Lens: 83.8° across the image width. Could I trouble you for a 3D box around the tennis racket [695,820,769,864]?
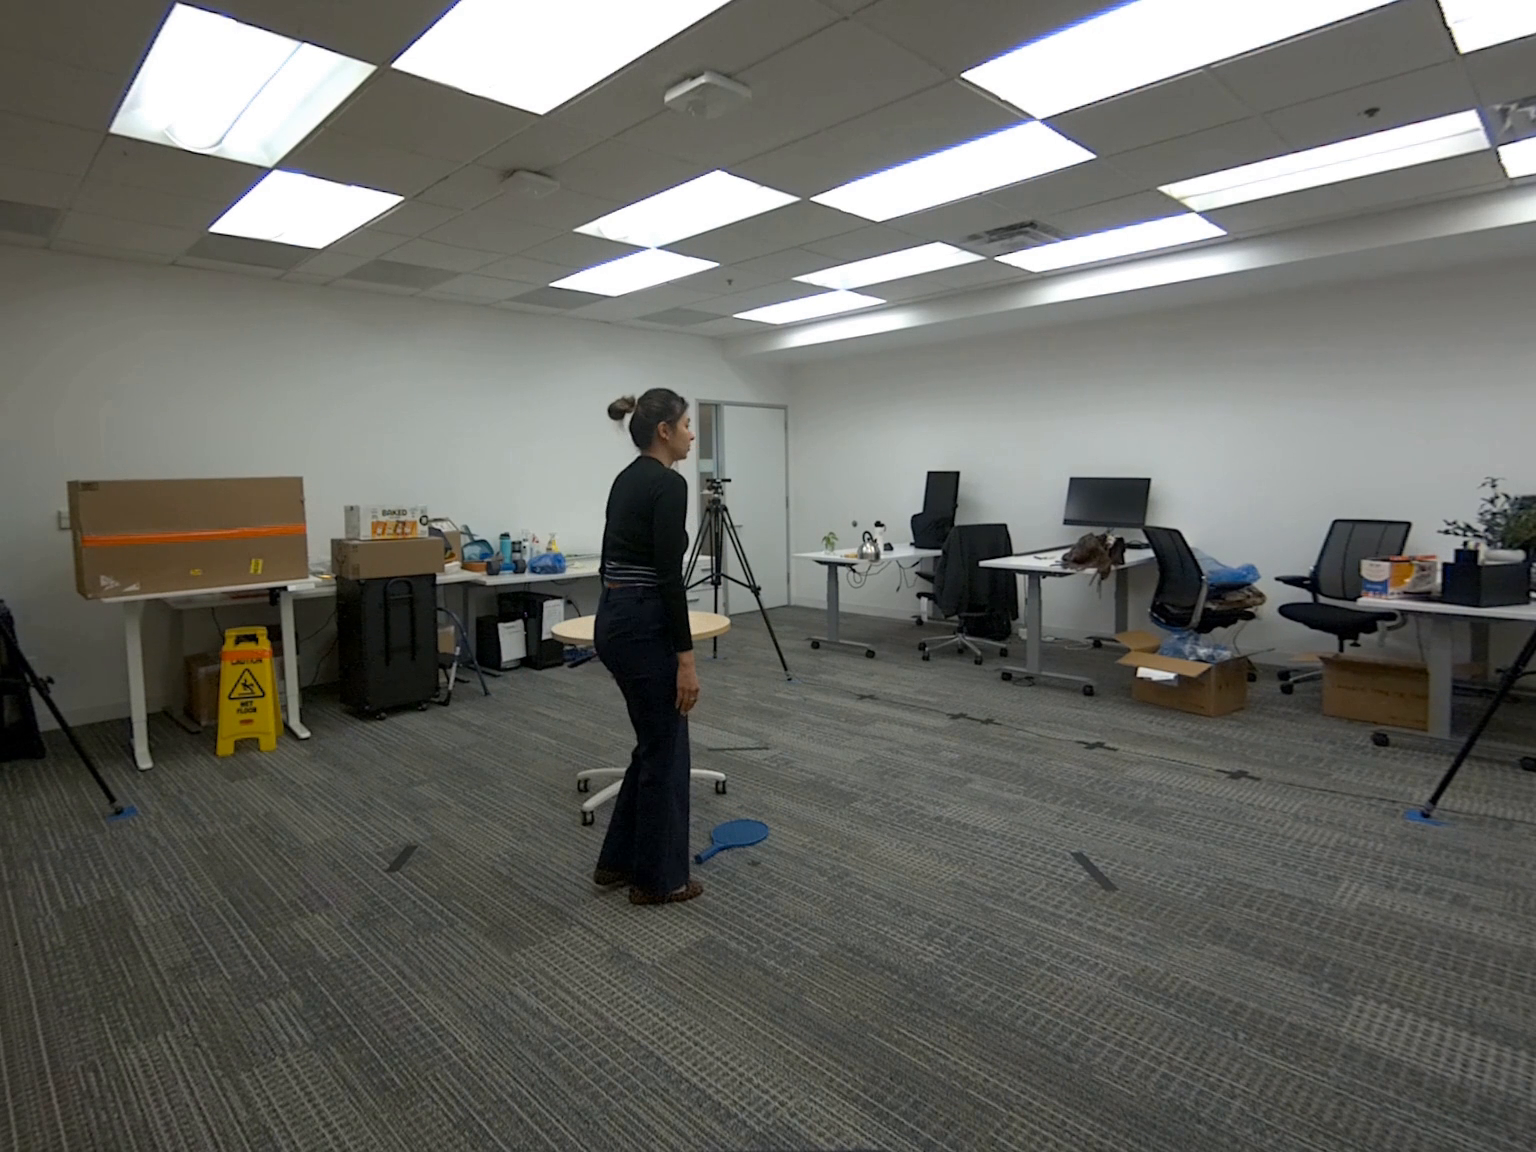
[{"bbox_3d":[-0.146,1.010,3.292,0.219,0.031,0.423,2,6,28],"label":"tennis racket"}]
